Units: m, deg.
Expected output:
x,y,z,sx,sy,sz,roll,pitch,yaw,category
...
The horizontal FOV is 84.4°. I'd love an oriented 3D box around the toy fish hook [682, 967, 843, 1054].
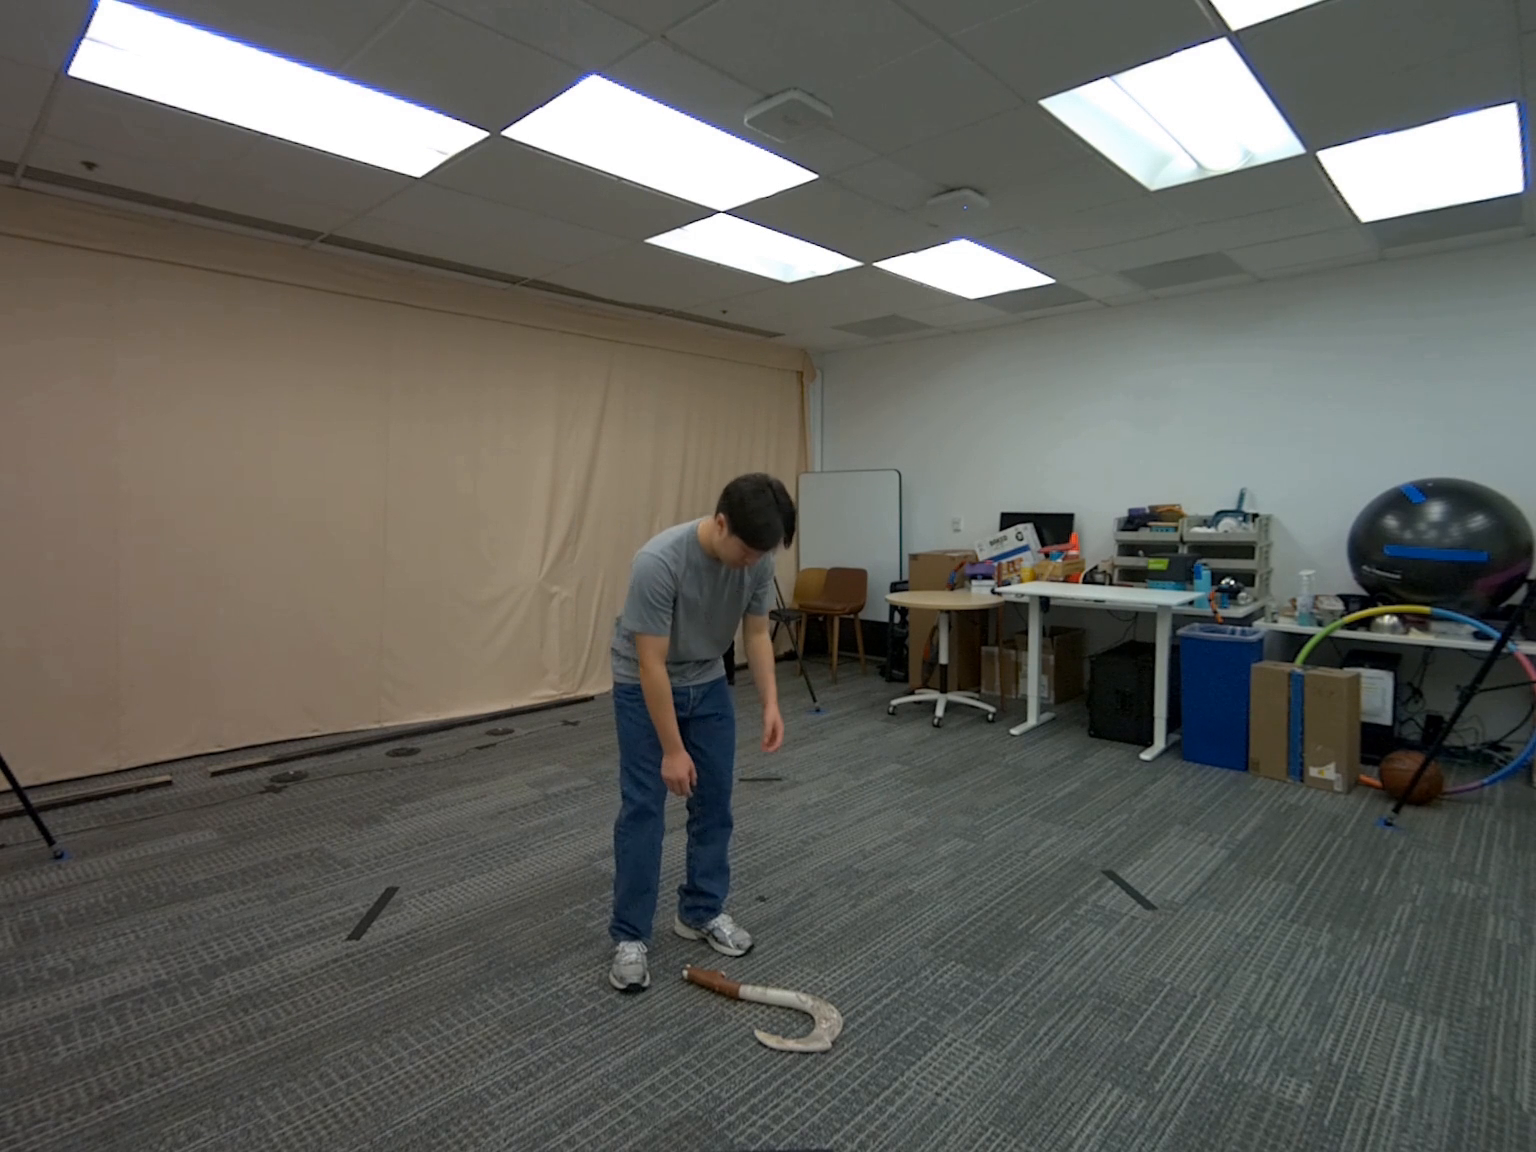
x,y,z,sx,sy,sz,roll,pitch,yaw,category
-0.042,1.180,2.301,0.521,0.048,0.219,2,4,29,toy fish hook
